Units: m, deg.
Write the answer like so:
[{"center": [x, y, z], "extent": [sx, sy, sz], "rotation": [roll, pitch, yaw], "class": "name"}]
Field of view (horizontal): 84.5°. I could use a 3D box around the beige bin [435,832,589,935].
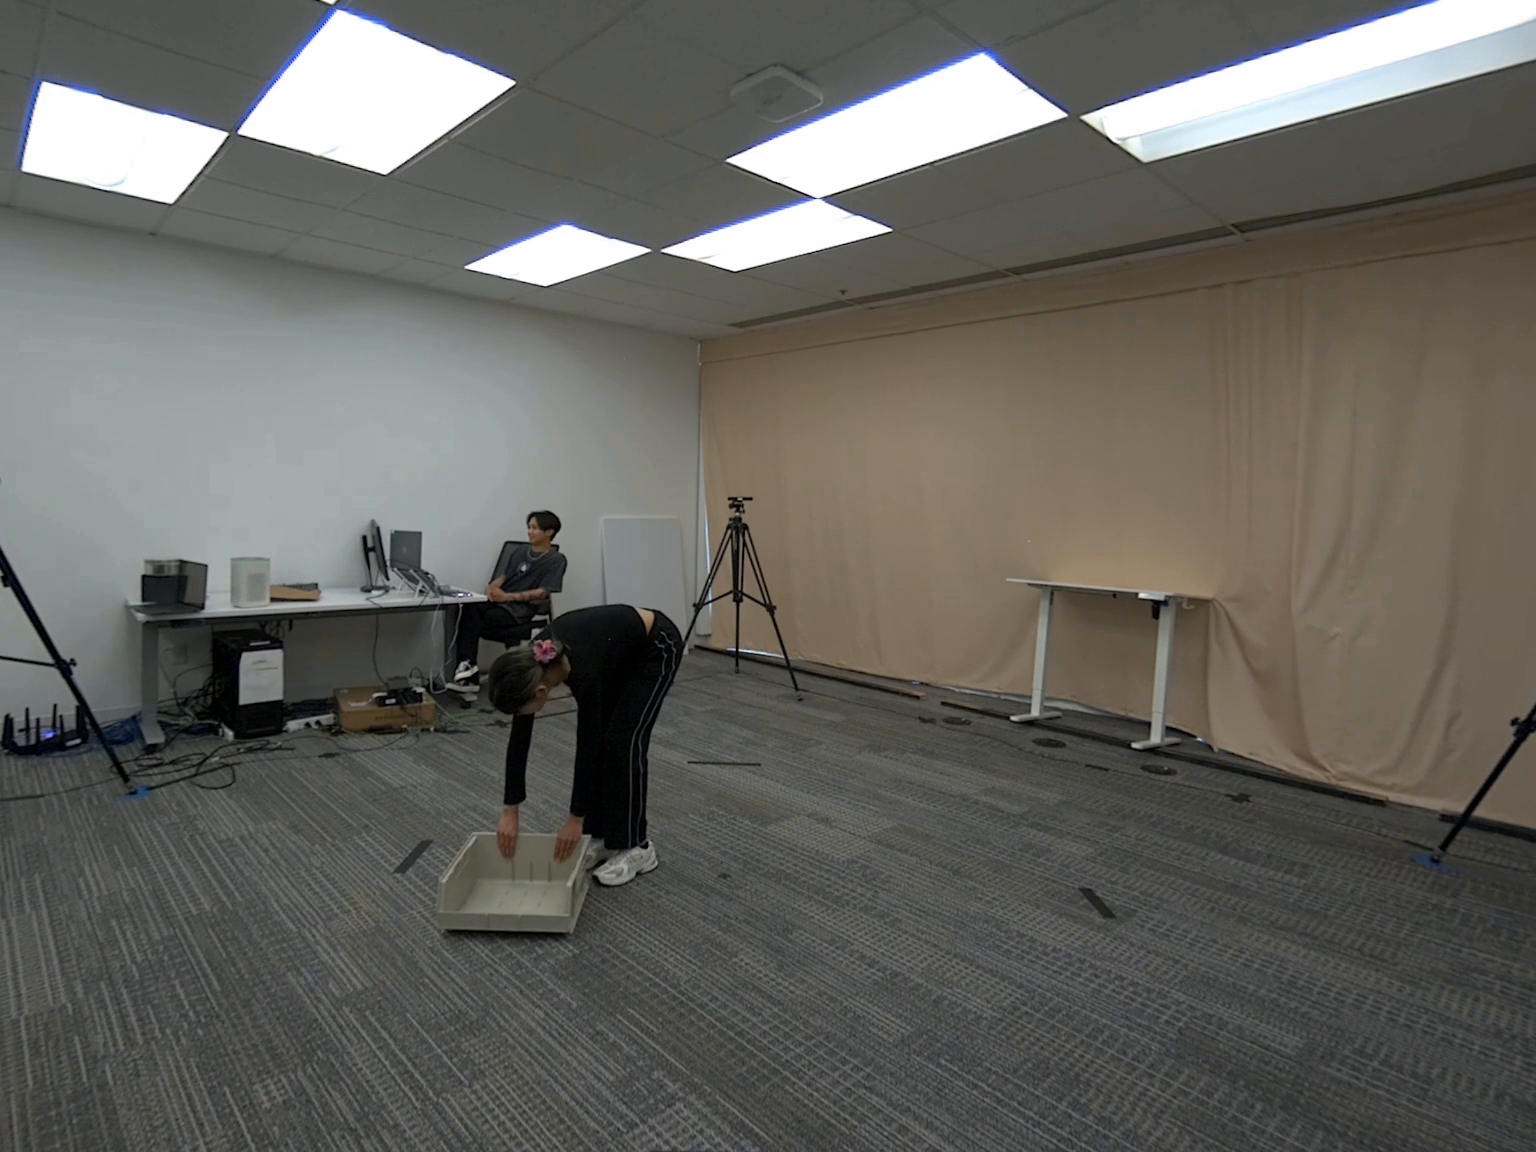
[{"center": [-0.837, 1.033, 2.796], "extent": [0.422, 0.188, 0.379], "rotation": [0, 7, -2], "class": "beige bin"}]
